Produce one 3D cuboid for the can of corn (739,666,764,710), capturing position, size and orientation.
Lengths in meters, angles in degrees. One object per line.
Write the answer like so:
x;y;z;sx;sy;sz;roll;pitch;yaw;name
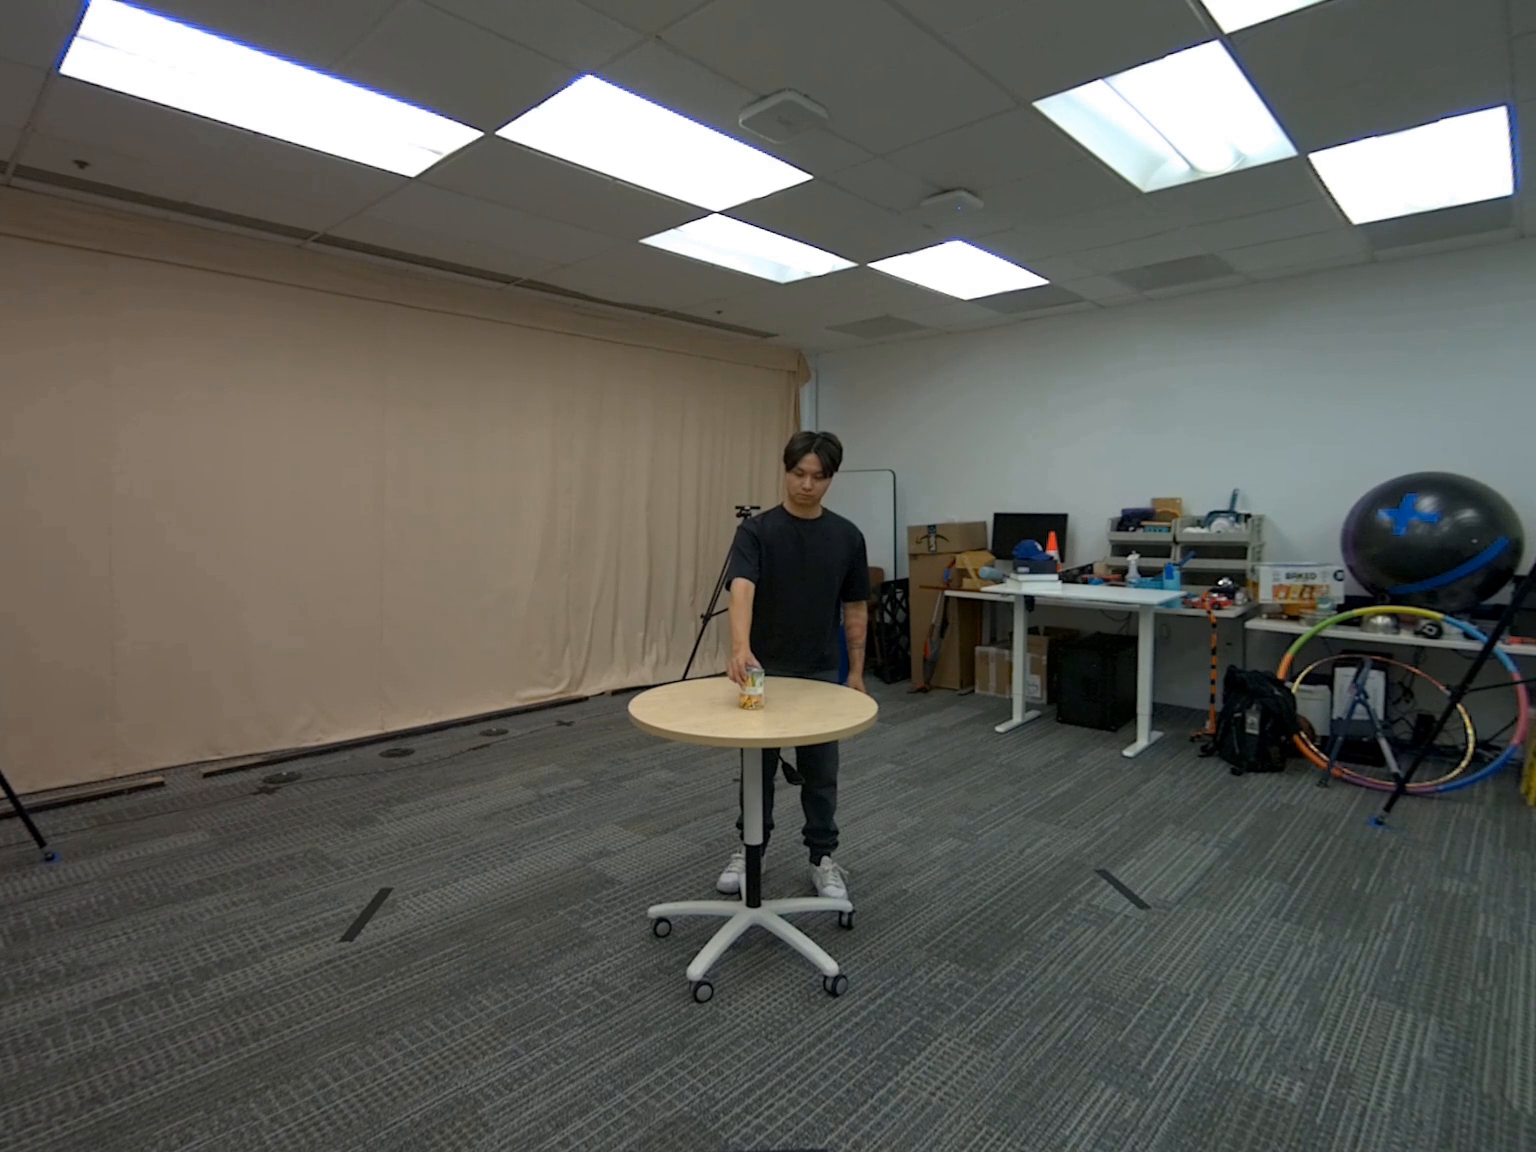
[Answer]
-0.055;0.337;2.551;0.074;0.111;0.074;-3;1;-2;can of corn
